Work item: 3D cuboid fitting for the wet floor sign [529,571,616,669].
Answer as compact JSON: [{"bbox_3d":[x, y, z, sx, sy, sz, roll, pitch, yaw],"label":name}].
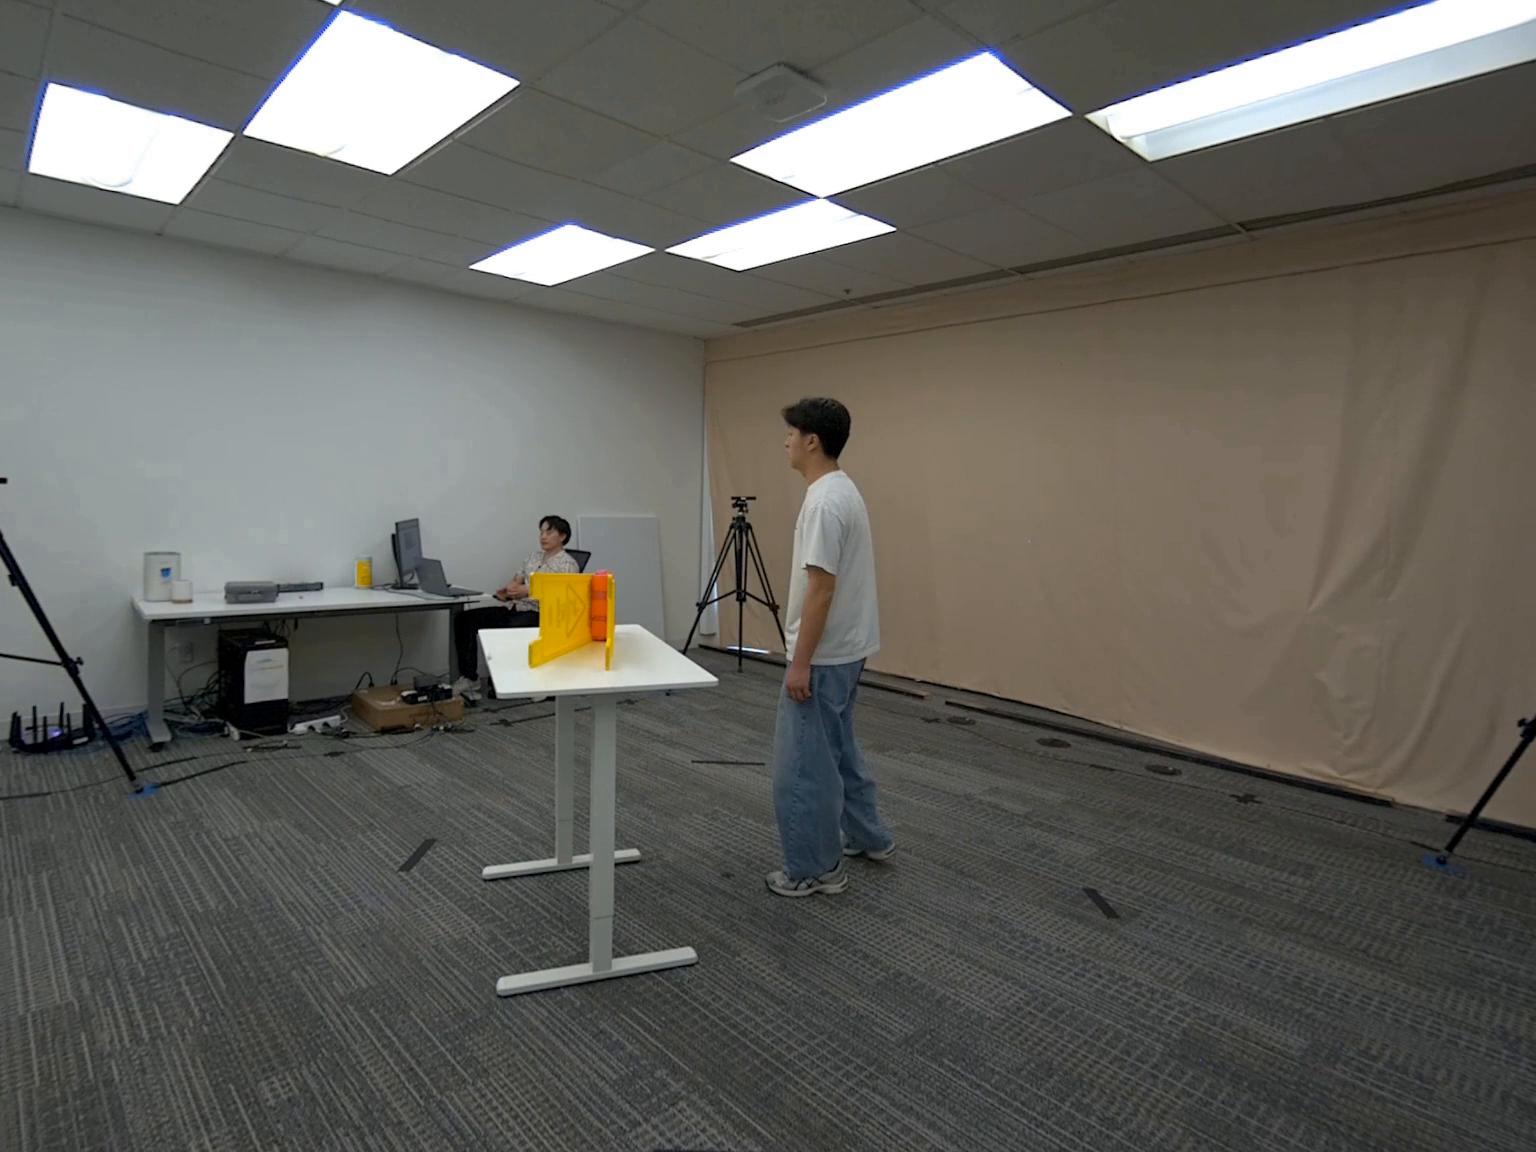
[{"bbox_3d":[-0.587,0.120,2.772,0.290,0.282,0.646,2,3,1],"label":"wet floor sign"}]
